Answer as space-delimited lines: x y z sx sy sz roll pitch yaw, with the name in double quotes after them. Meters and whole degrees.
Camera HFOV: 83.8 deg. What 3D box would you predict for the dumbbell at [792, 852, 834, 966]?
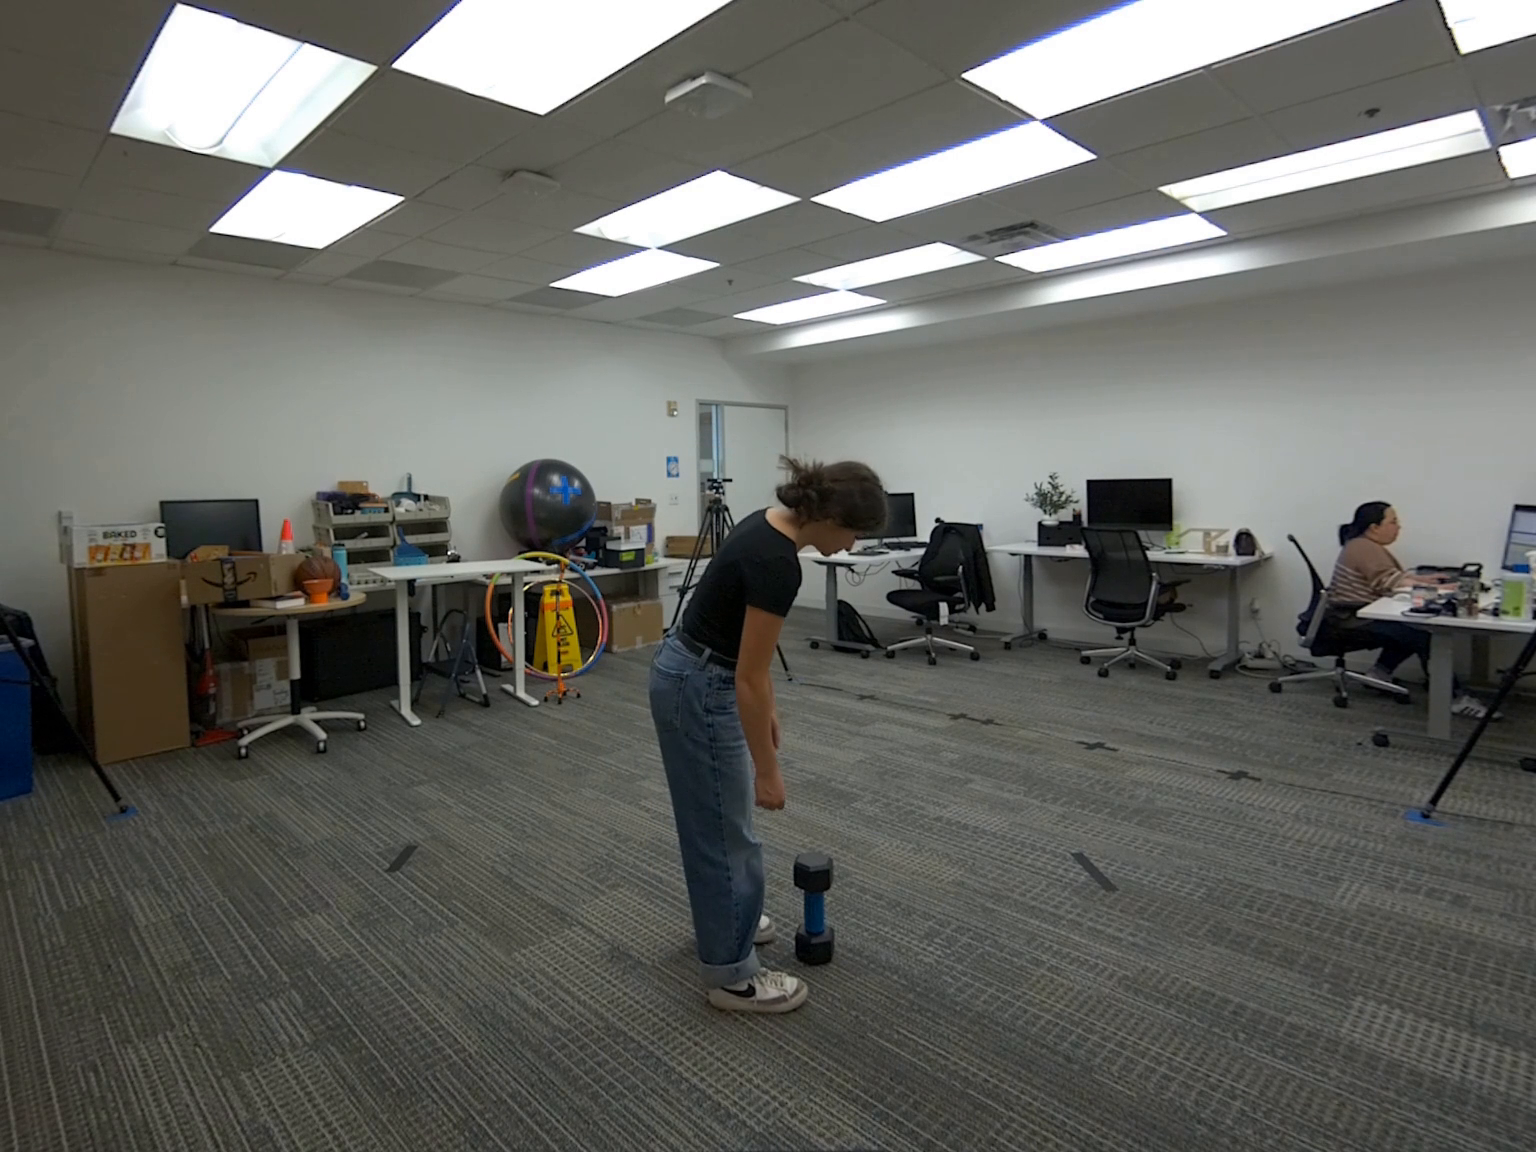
0.136 0.965 2.491 0.121 0.293 0.110 -3 3 -17 "dumbbell"
